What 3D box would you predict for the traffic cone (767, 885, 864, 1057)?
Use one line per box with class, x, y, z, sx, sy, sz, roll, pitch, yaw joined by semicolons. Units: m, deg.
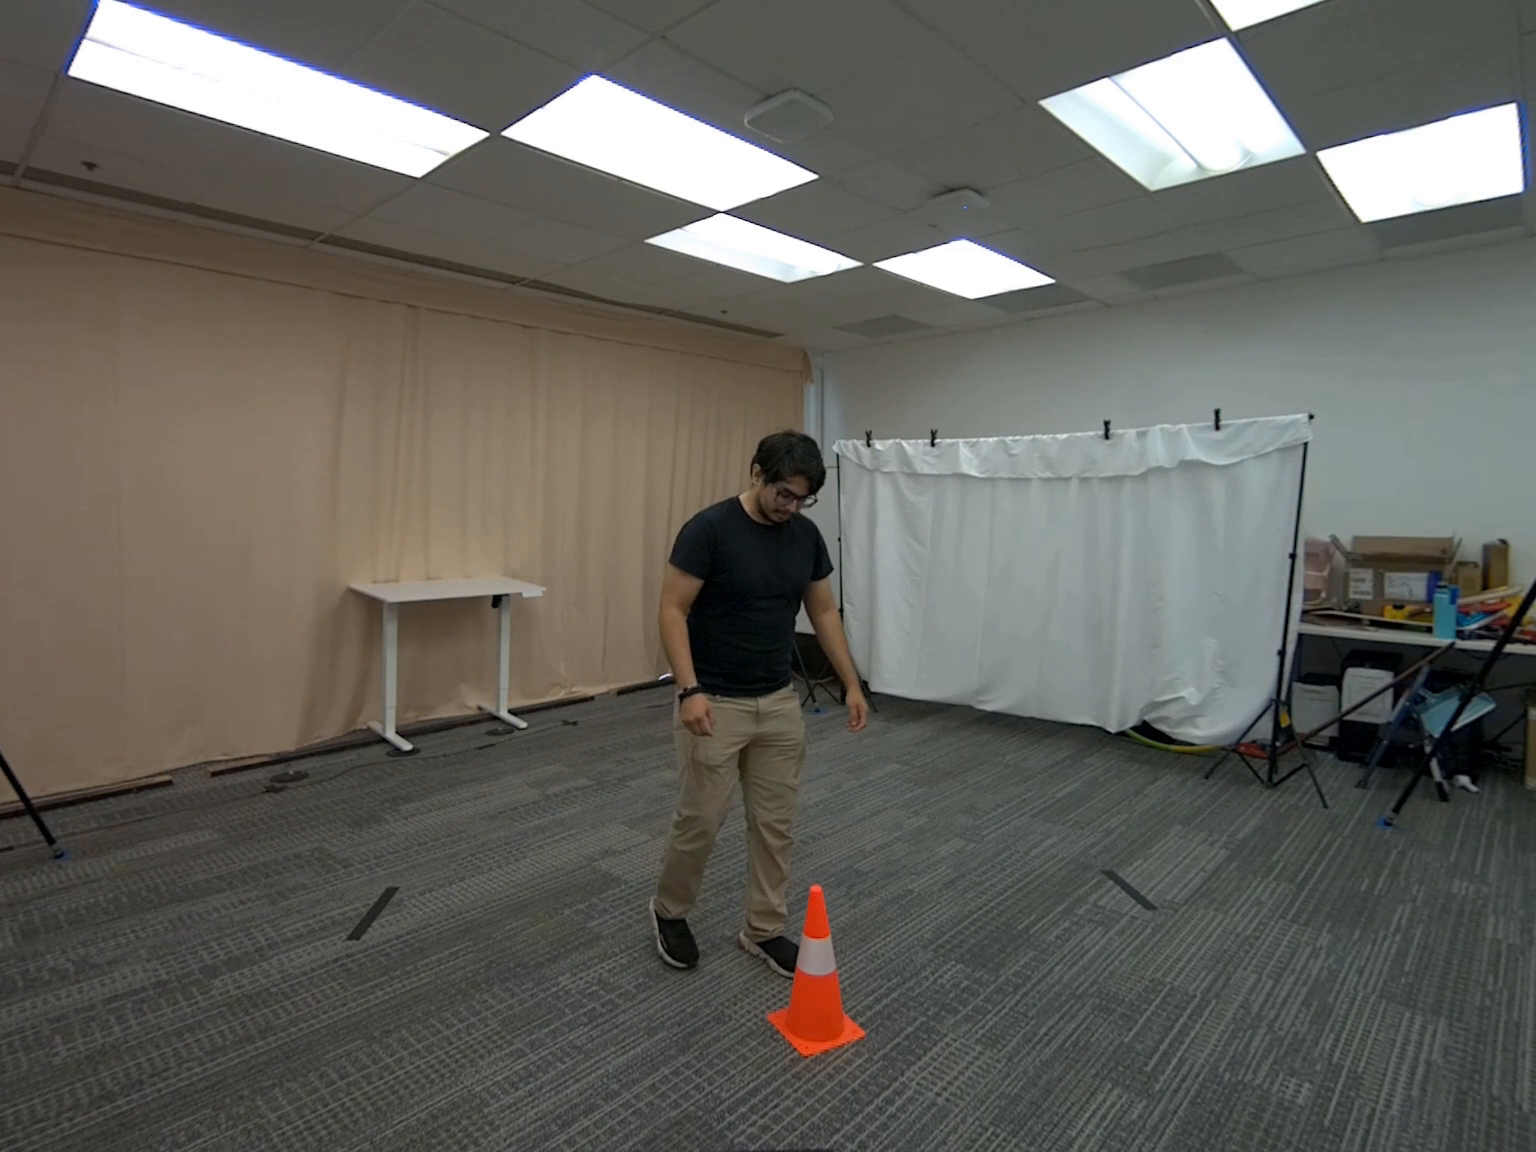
traffic cone;0.136;1.021;2.243;0.198;0.383;0.210;0;3;-28
